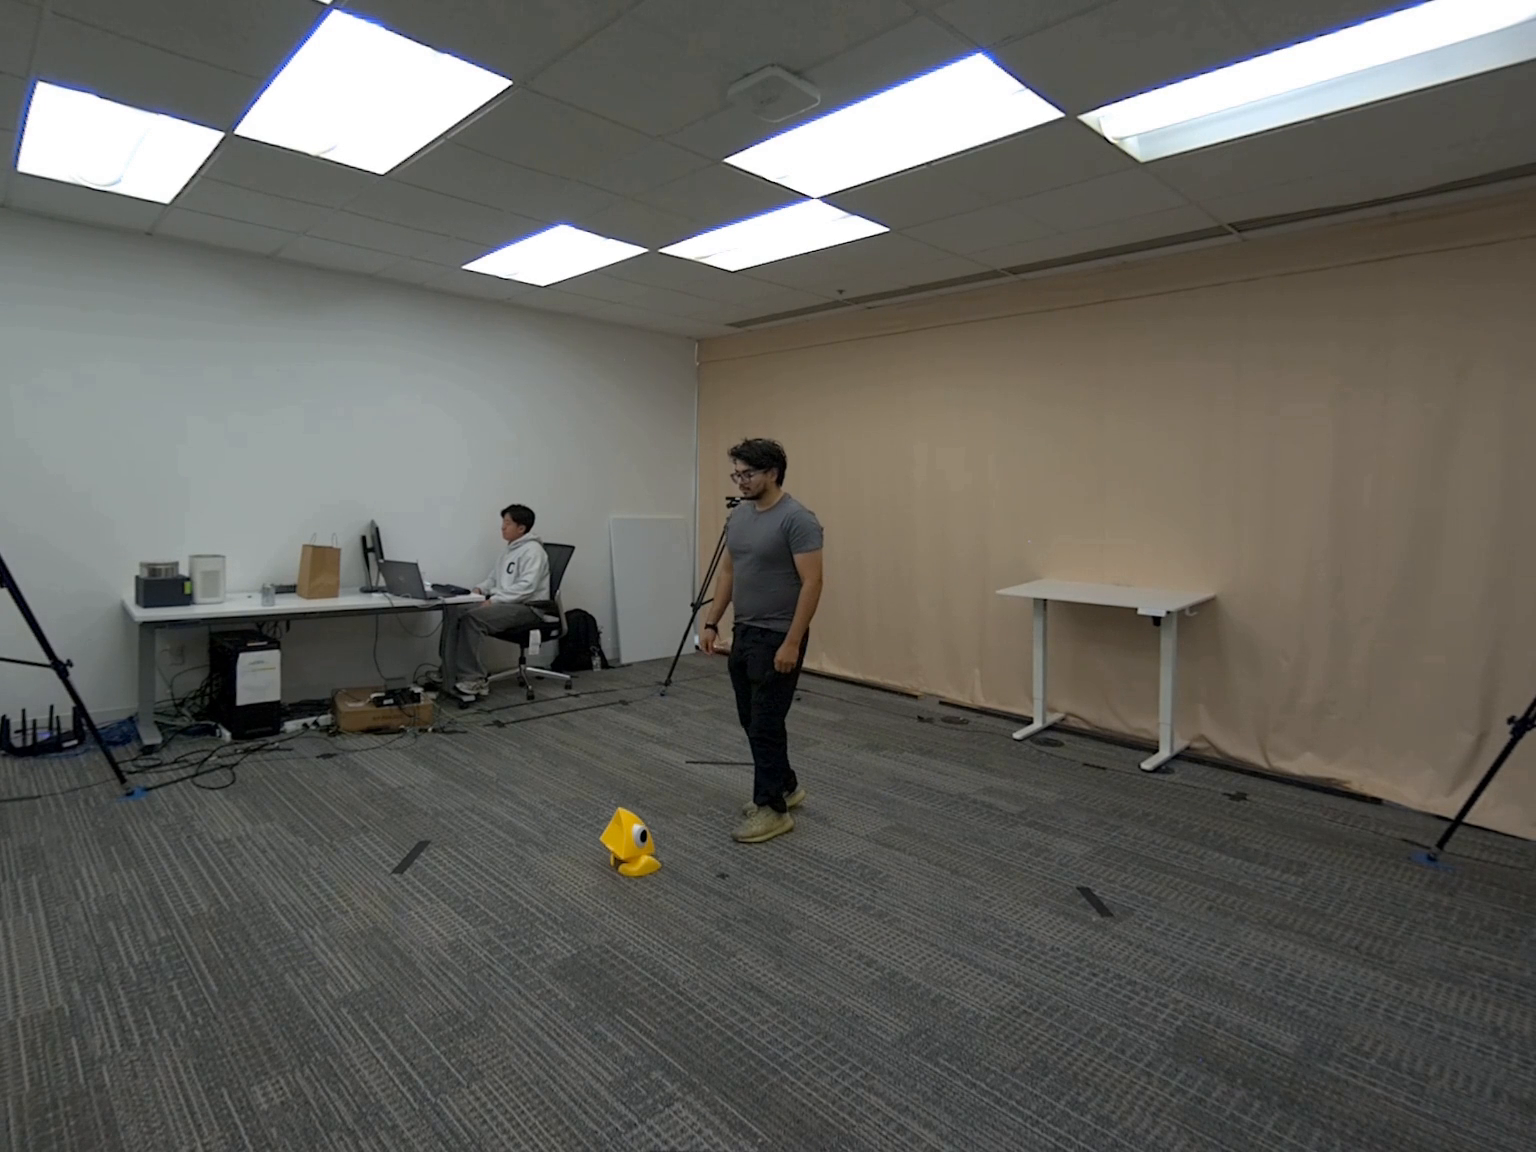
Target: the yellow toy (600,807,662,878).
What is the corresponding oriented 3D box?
[{"bbox_3d":[-0.520,0.980,3.175,0.189,0.230,0.210,0,4,-34],"label":"yellow toy"}]
